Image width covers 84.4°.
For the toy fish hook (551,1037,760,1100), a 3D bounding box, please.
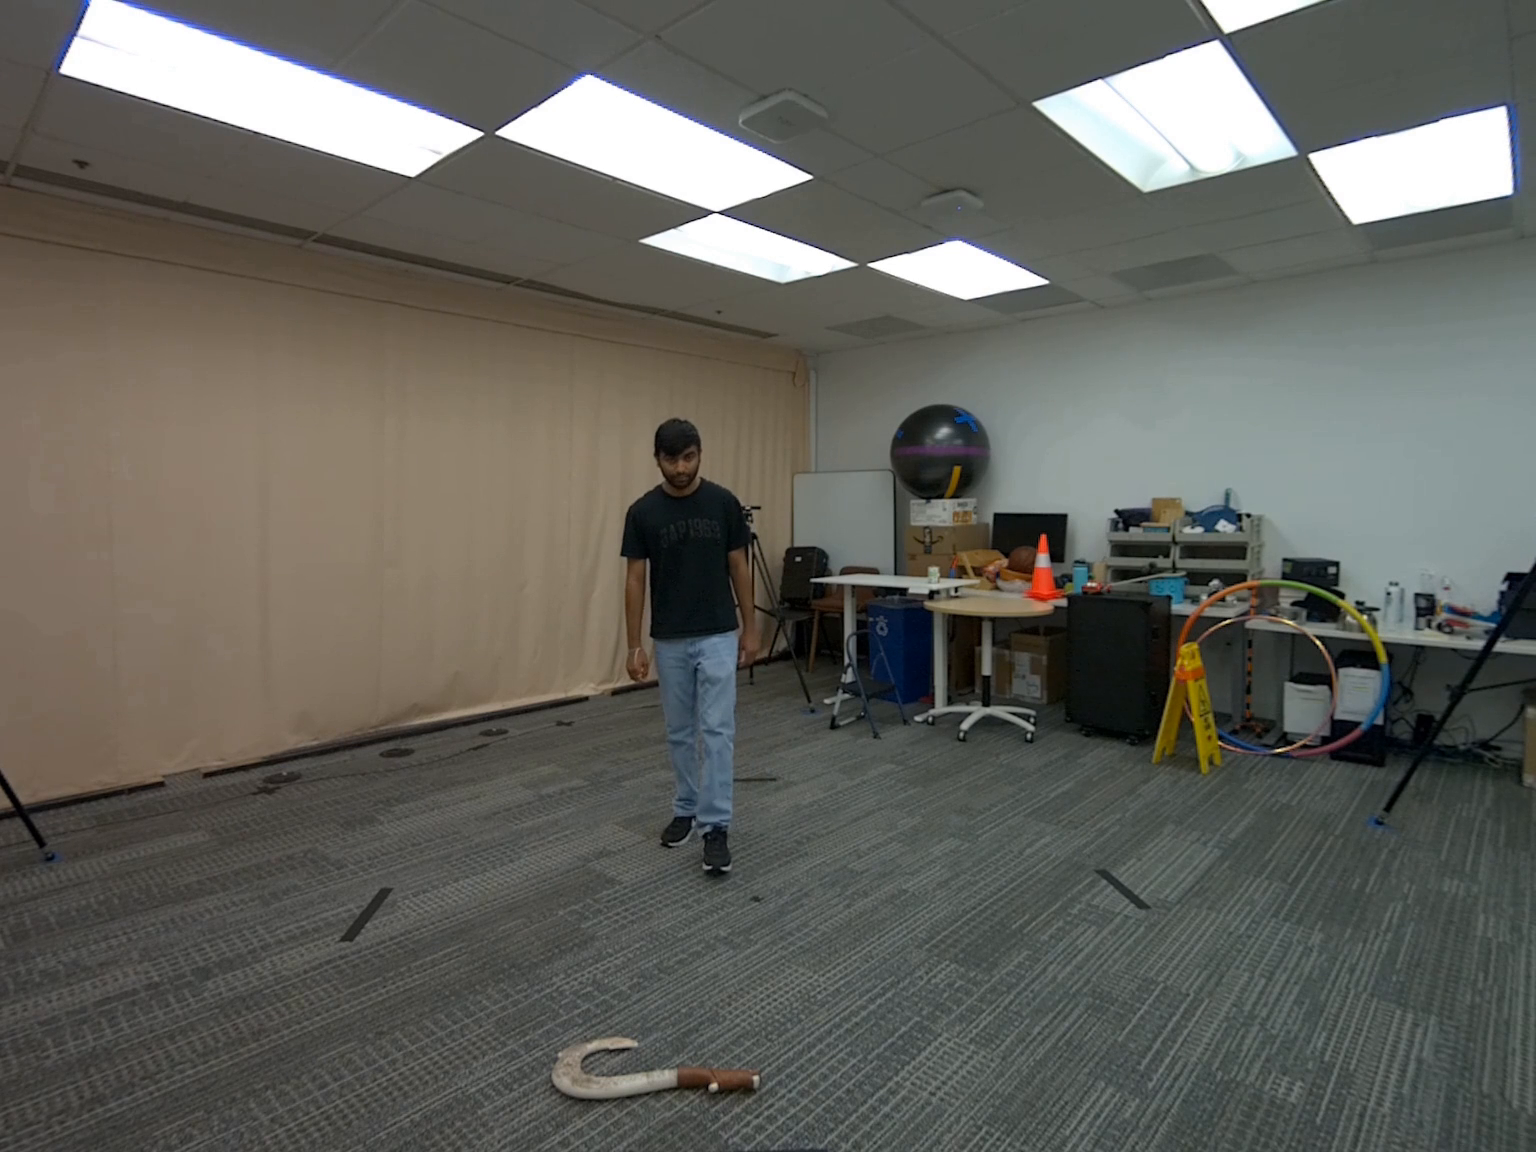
[{"bbox_3d":[-0.271,1.192,2.069,0.507,0.048,0.225,0,5,1],"label":"toy fish hook"}]
